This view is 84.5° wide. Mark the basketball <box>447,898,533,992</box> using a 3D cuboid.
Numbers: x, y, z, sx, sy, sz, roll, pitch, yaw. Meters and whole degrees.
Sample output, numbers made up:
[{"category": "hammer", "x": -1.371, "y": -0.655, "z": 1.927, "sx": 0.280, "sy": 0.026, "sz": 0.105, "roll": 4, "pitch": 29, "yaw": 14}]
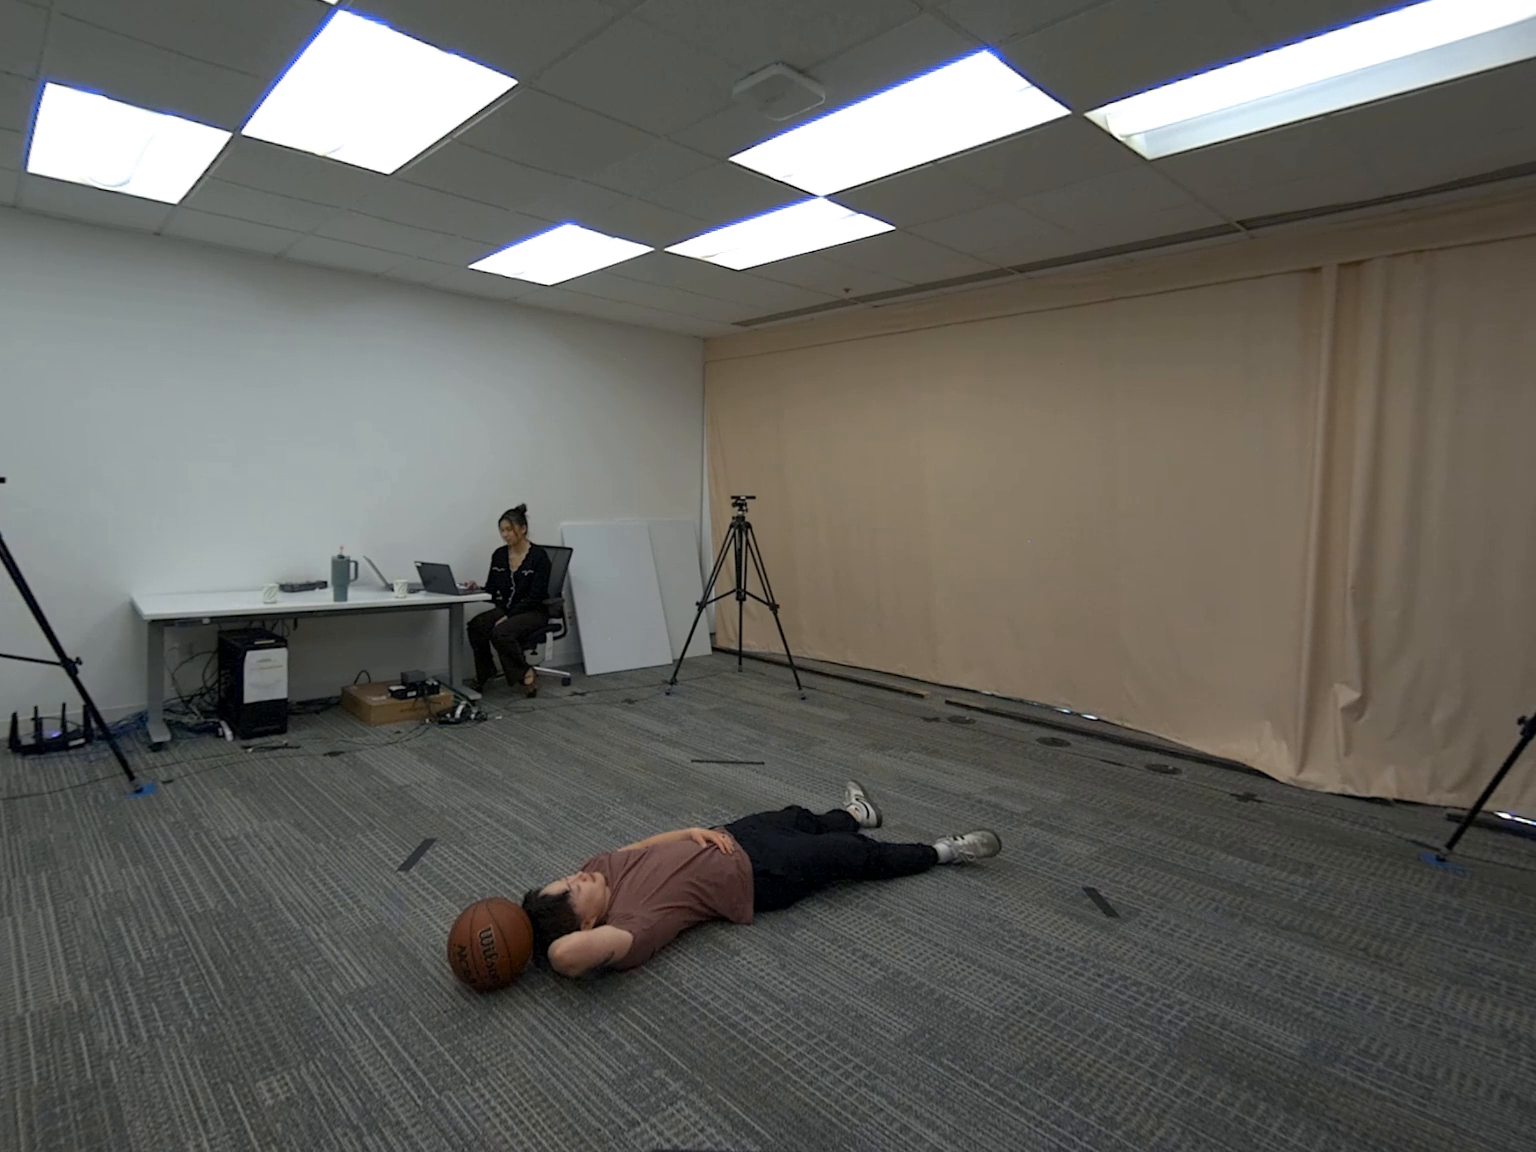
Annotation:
[{"category": "basketball", "x": -0.786, "y": 1.038, "z": 2.380, "sx": 0.236, "sy": 0.235, "sz": 0.237, "roll": 2, "pitch": 4, "yaw": -2}]
